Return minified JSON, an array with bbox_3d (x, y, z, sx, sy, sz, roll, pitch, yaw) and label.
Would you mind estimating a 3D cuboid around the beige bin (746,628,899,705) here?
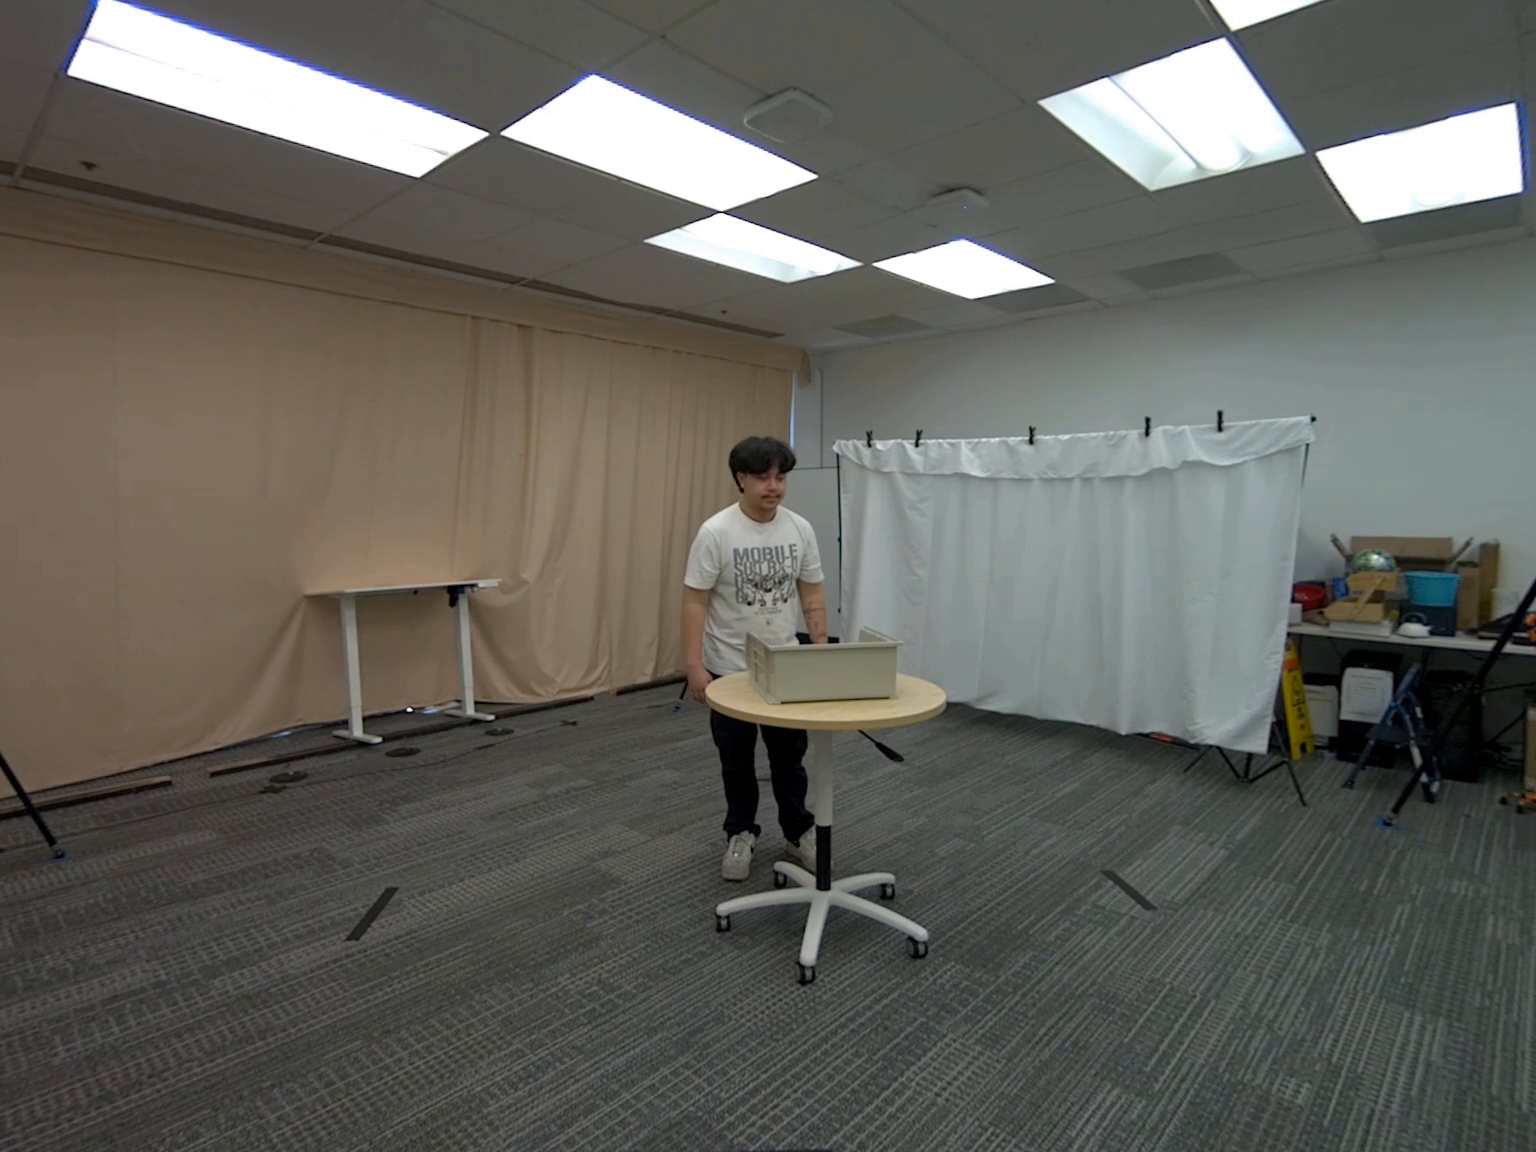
[{"bbox_3d":[0.169,0.278,2.729,0.417,0.188,0.383,-1,6,-12],"label":"beige bin"}]
